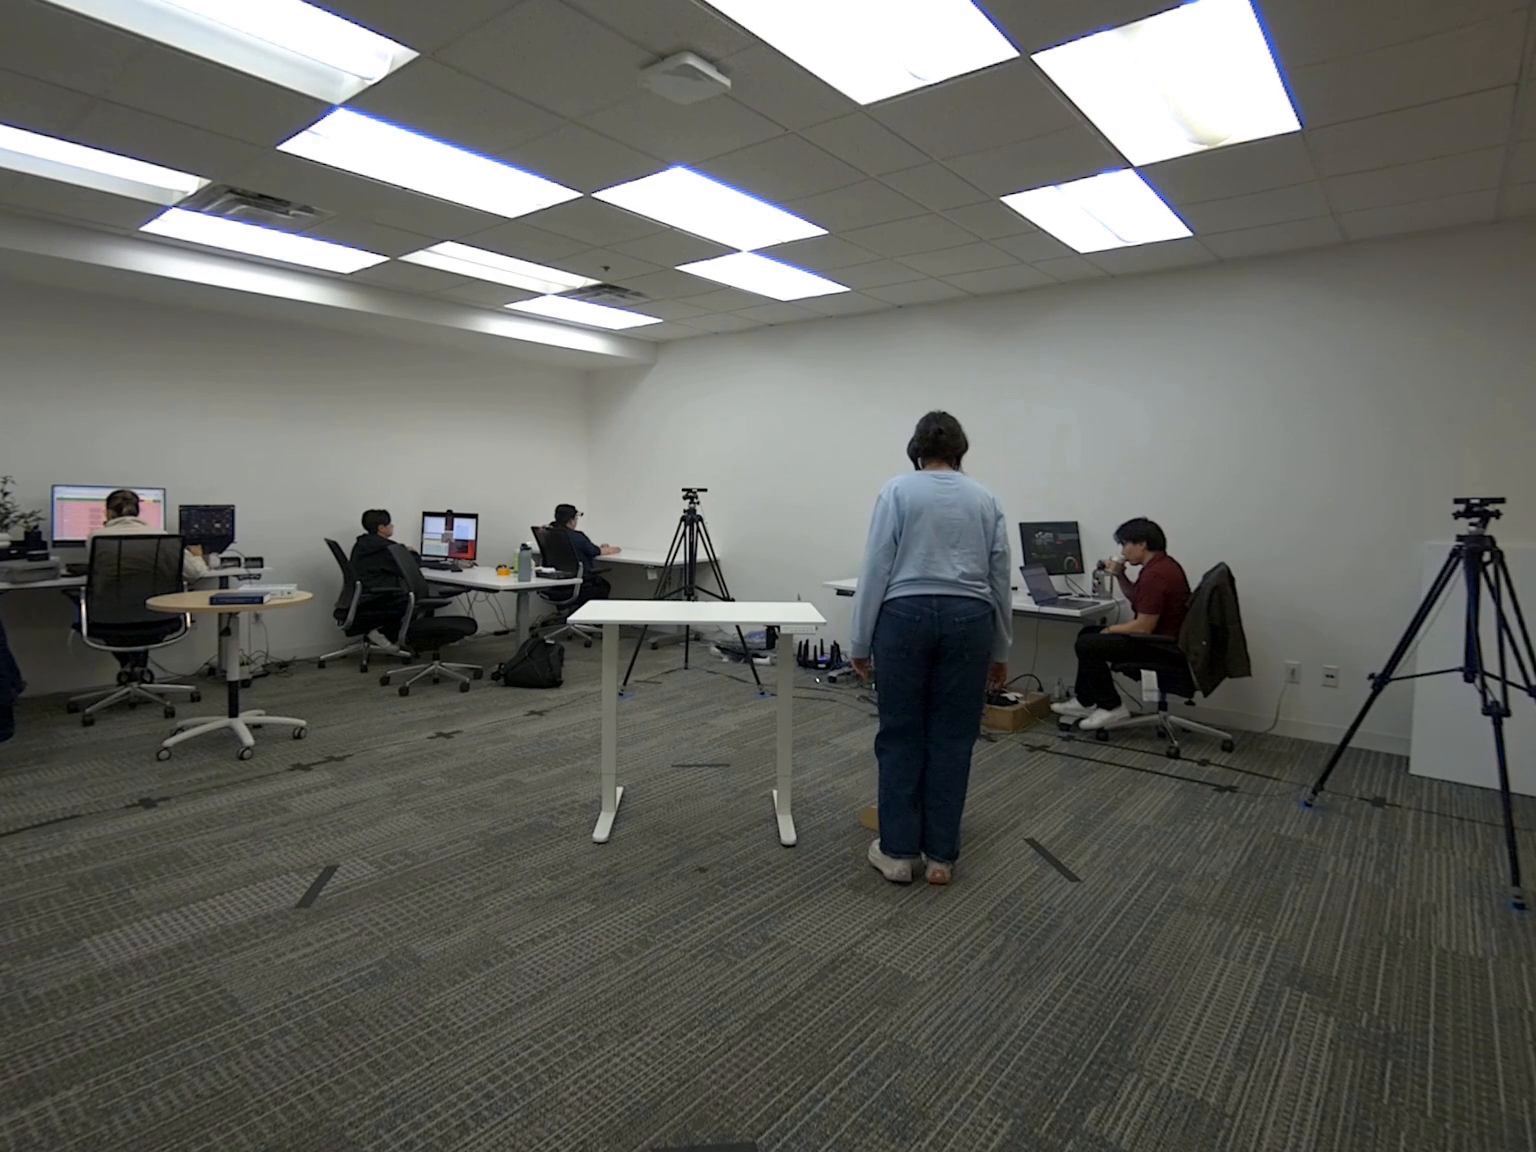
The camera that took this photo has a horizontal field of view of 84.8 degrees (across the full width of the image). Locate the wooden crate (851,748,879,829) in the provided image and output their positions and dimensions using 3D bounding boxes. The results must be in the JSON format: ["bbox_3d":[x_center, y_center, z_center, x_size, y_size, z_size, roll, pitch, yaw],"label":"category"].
[{"bbox_3d":[0.577,0.897,3.567,0.312,0.272,0.315,6,7,42],"label":"wooden crate"}]
